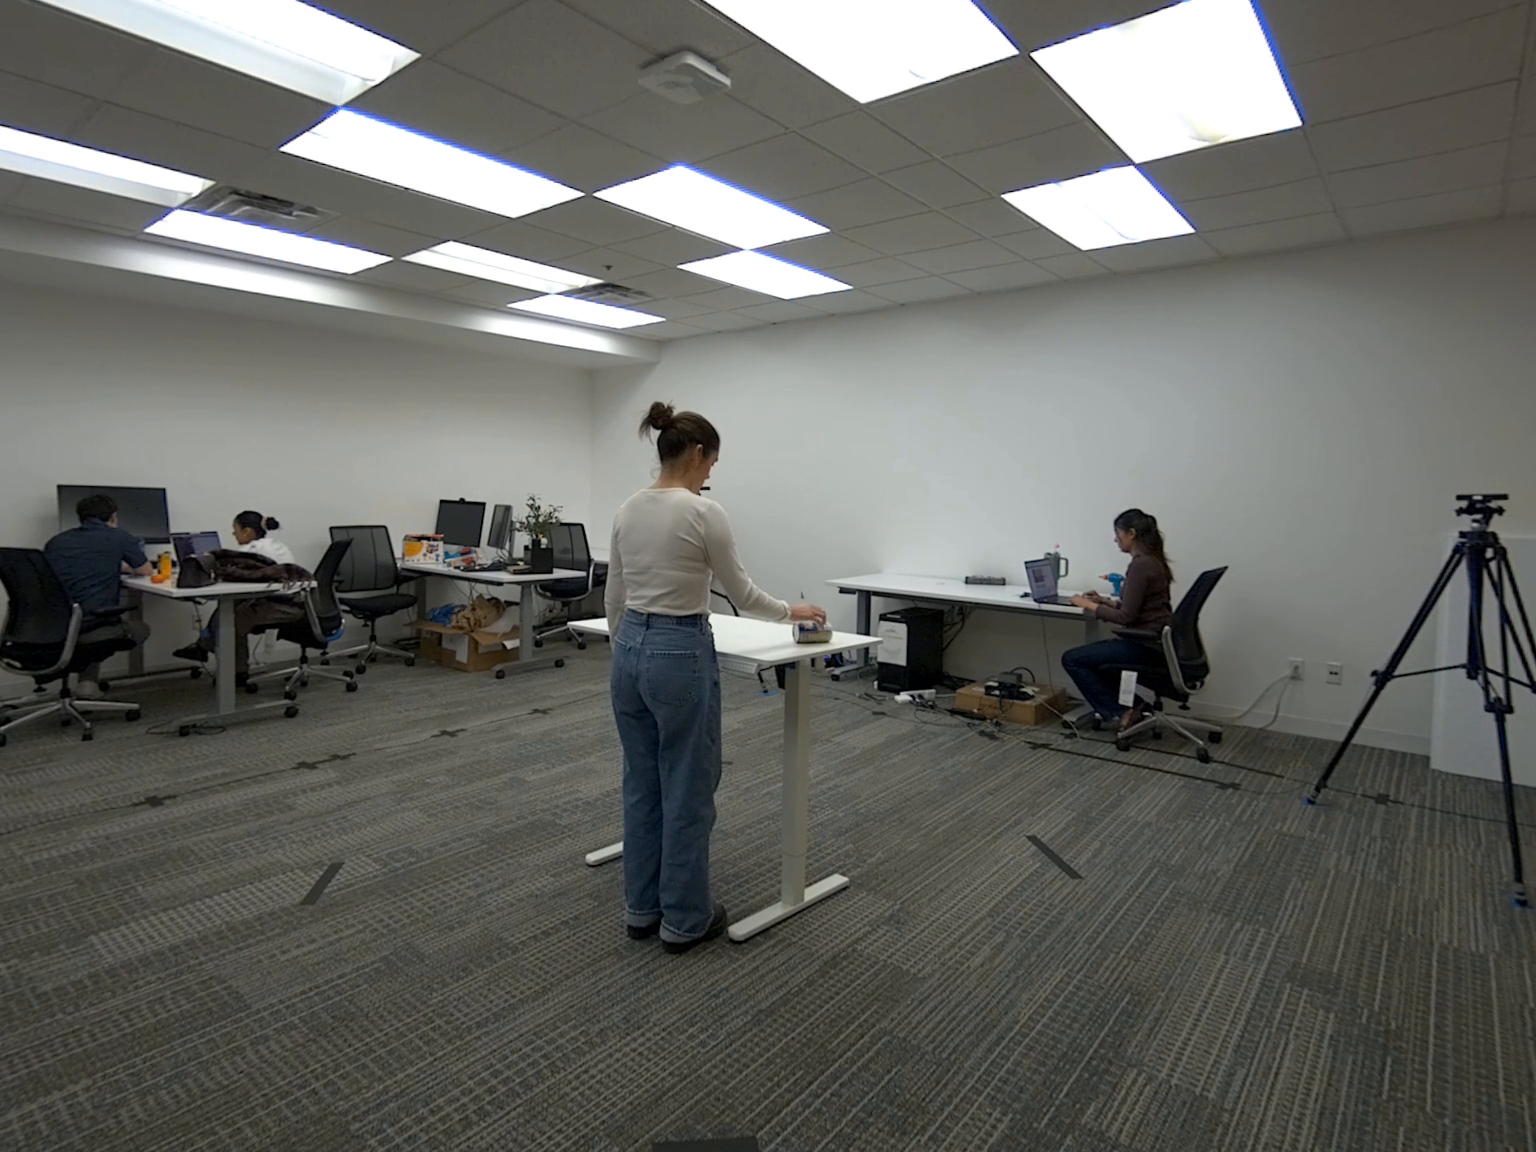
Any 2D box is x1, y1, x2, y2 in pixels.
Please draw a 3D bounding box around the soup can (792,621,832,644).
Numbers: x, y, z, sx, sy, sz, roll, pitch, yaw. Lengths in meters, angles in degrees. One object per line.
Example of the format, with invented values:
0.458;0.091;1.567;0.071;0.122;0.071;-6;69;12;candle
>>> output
0.138;0.181;2.810;0.120;0.067;0.068;-3;5;-10;soup can
